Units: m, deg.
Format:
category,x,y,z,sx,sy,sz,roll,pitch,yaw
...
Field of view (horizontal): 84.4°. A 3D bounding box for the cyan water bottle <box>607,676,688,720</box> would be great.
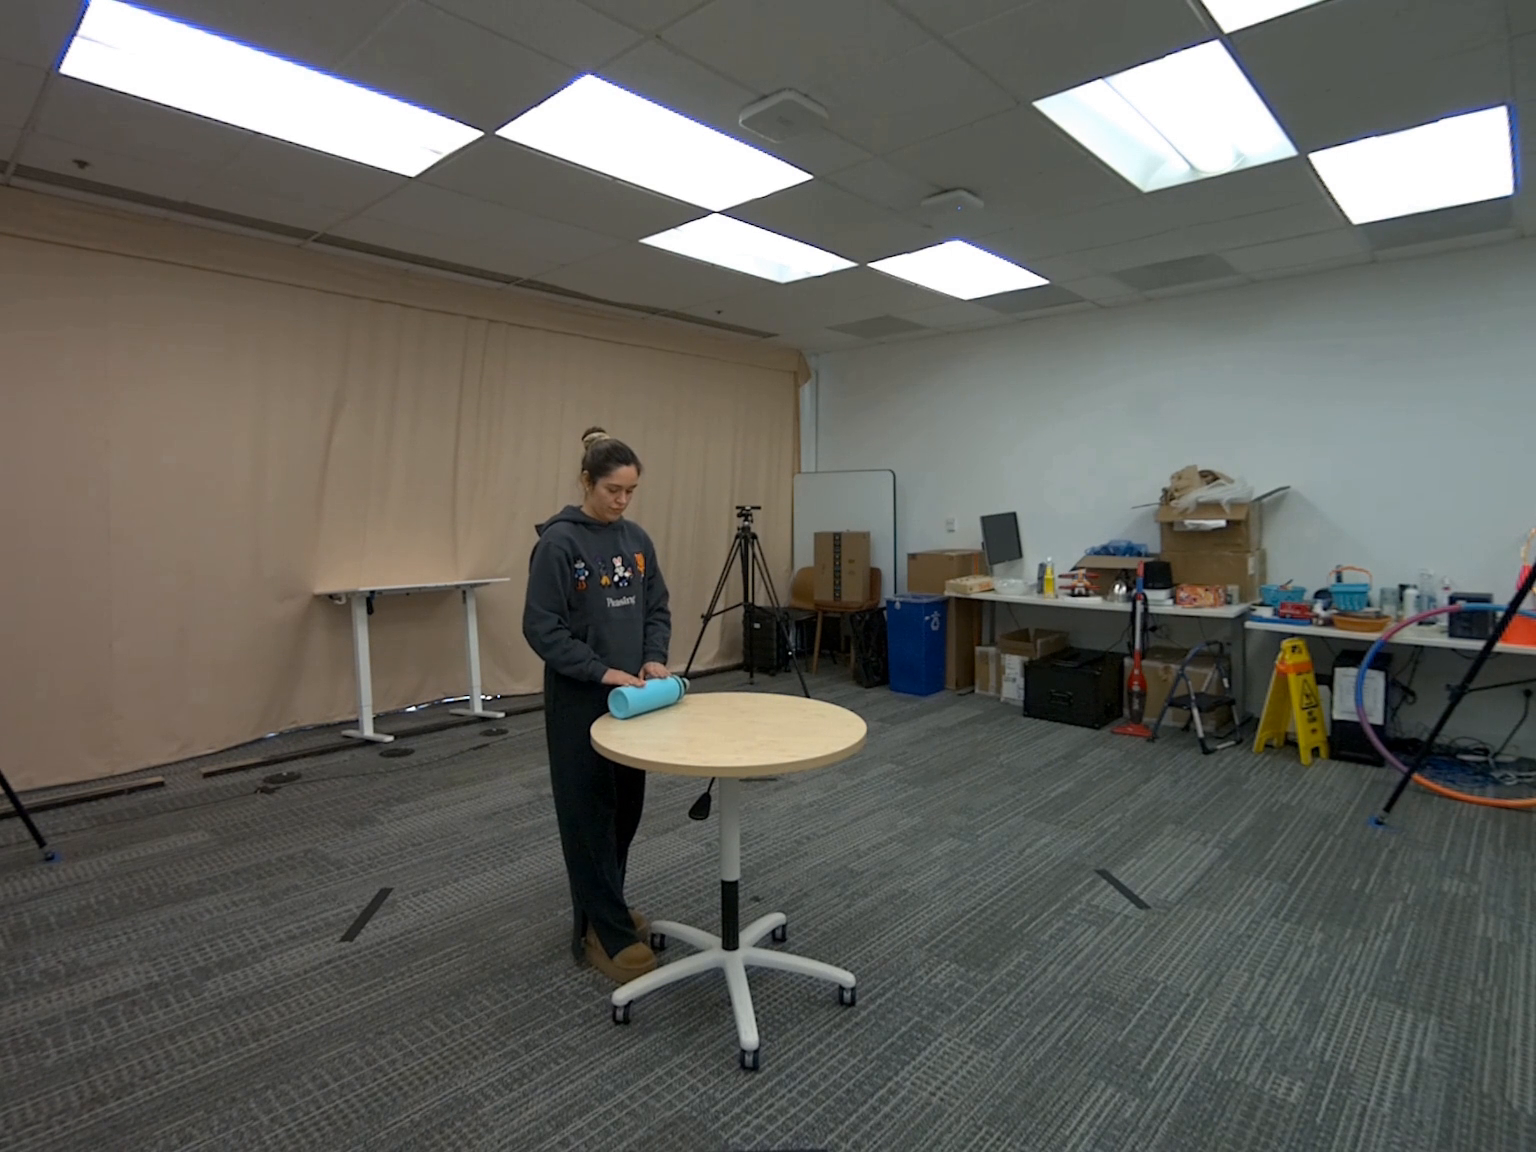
category,x,y,z,sx,sy,sz,roll,pitch,yaw
cyan water bottle,-0.331,0.359,2.522,0.095,0.092,0.275,3,6,36
